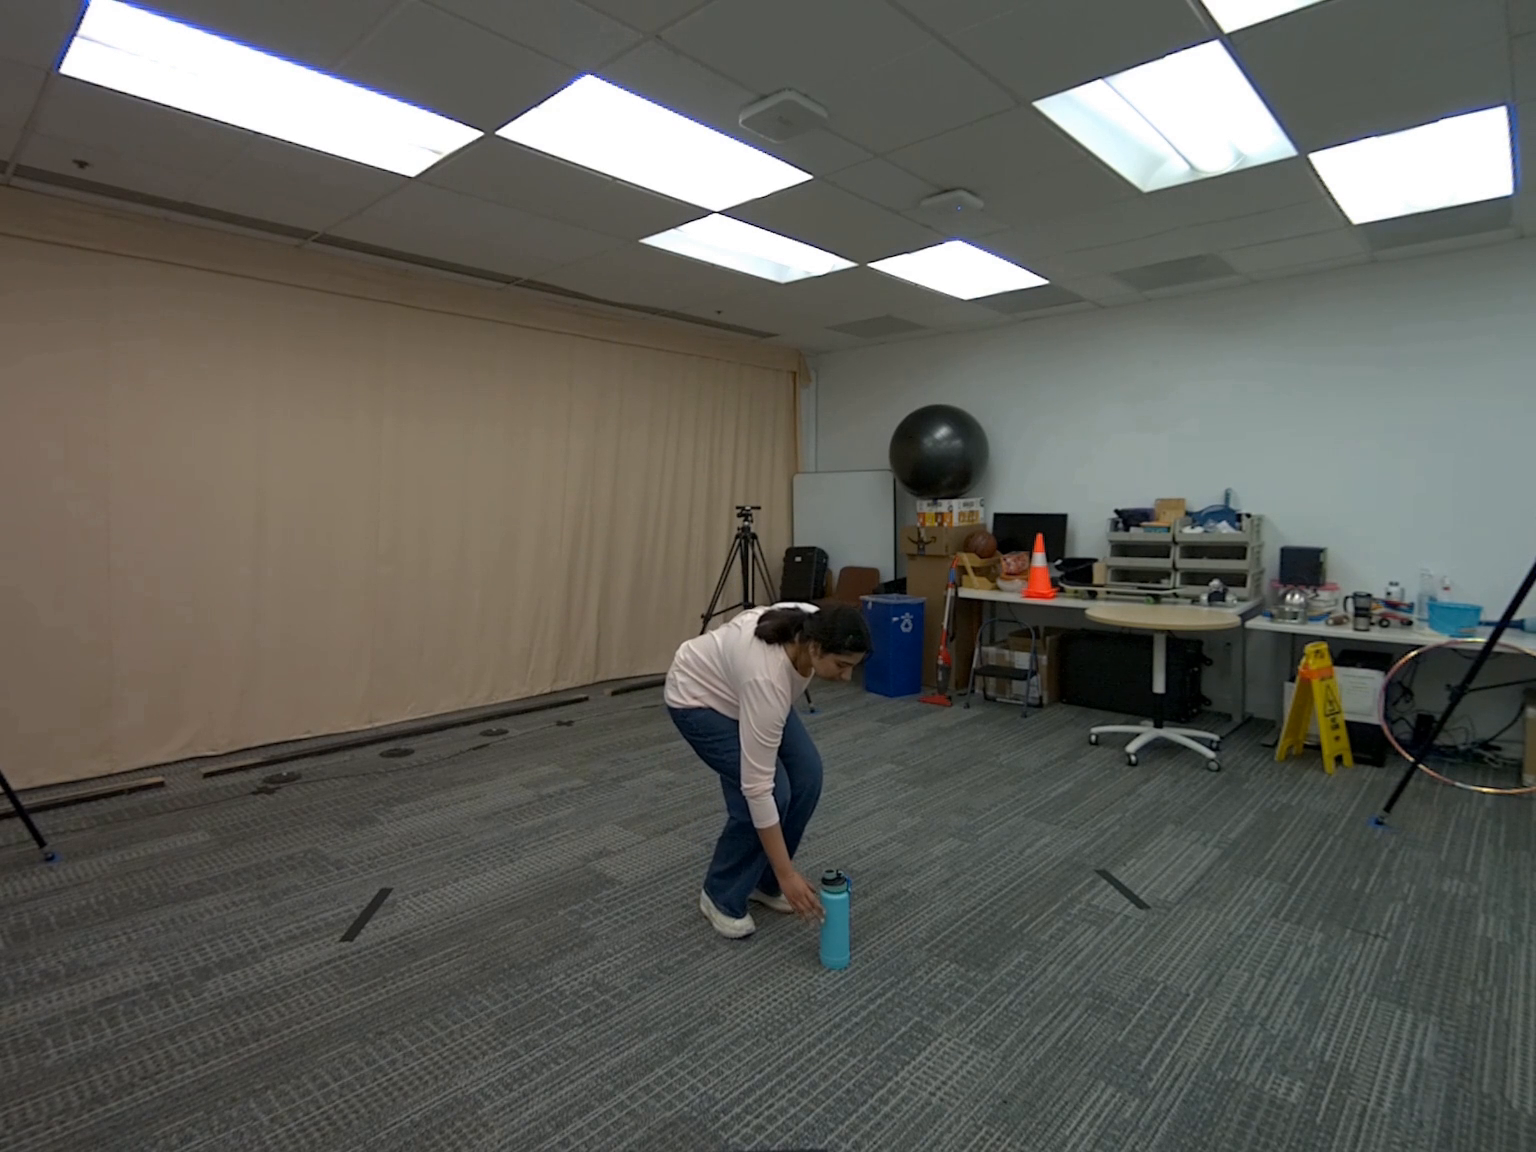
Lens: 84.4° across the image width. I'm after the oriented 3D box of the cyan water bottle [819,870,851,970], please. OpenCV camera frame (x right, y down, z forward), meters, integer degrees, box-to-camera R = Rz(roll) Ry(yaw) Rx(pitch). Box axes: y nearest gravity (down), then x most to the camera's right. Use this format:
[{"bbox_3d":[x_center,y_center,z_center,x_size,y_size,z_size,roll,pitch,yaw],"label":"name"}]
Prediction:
[{"bbox_3d":[0.210,1.039,2.561,0.092,0.283,0.092,3,3,-2],"label":"cyan water bottle"}]
